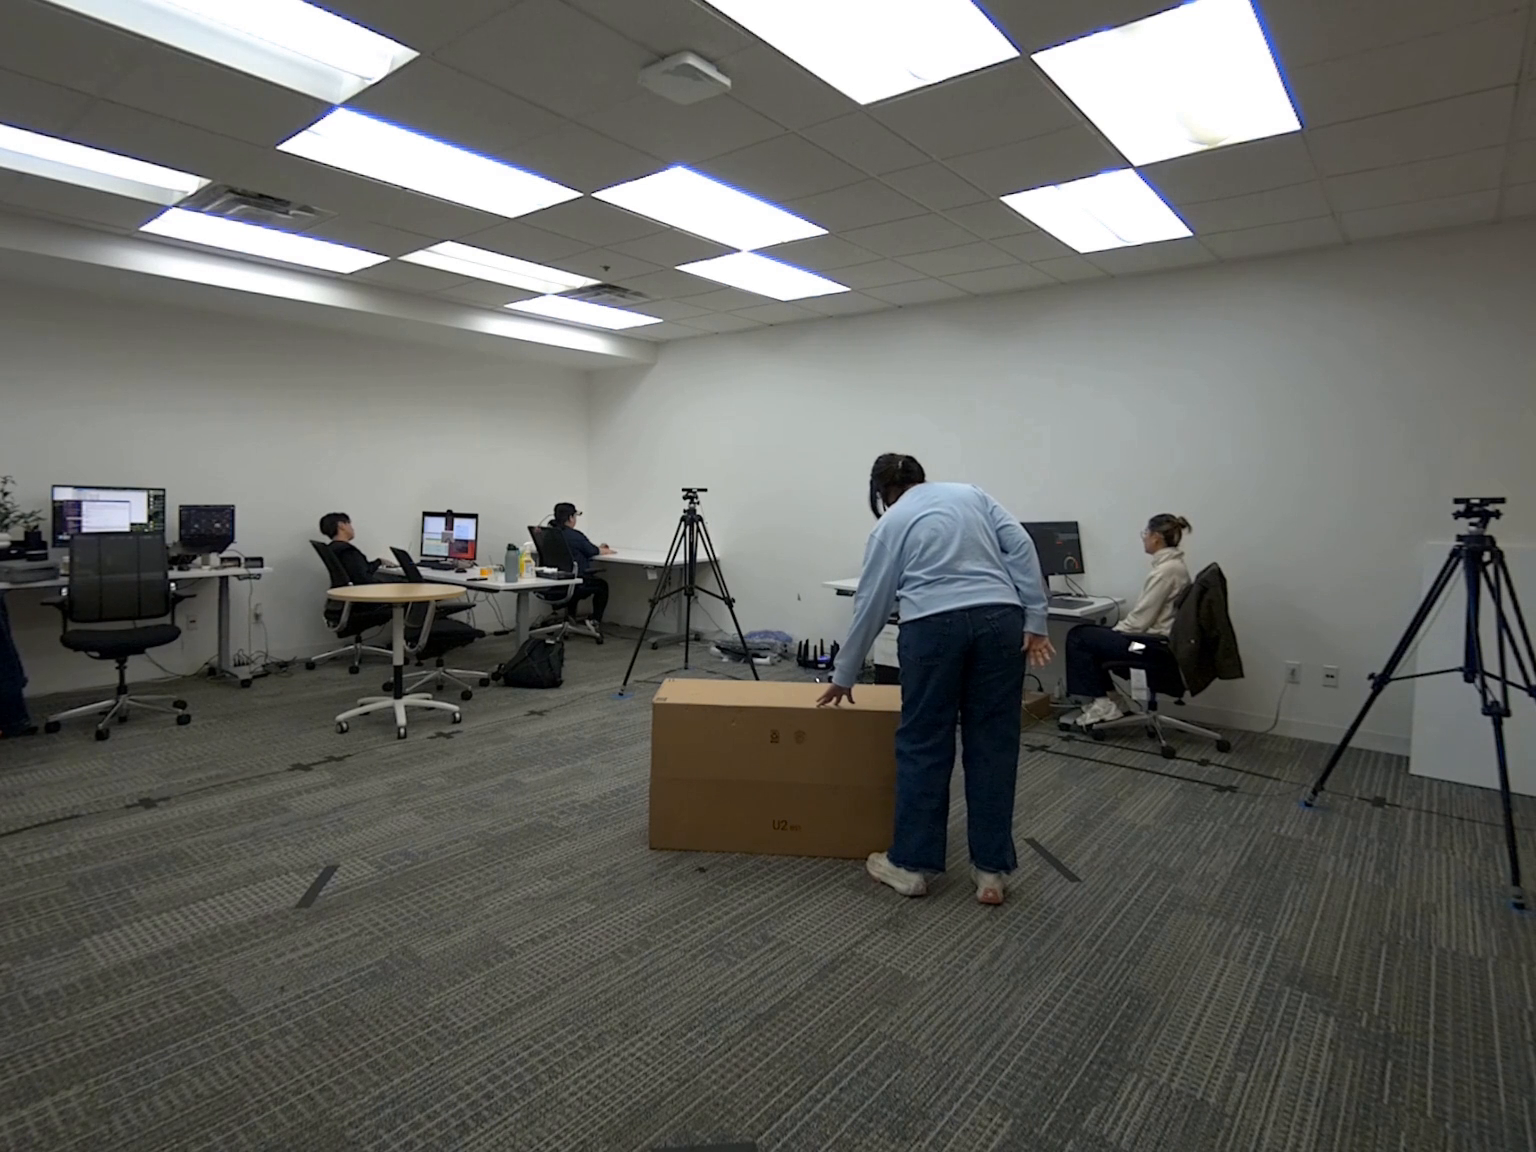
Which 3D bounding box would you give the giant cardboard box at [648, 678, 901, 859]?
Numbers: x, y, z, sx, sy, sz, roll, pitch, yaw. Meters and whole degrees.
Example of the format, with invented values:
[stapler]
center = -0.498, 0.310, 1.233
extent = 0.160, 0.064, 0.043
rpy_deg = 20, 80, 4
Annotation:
[giant cardboard box]
center = 0.048, 0.750, 3.436
extent = 1.030, 0.576, 0.426
rpy_deg = 1, 3, 3
